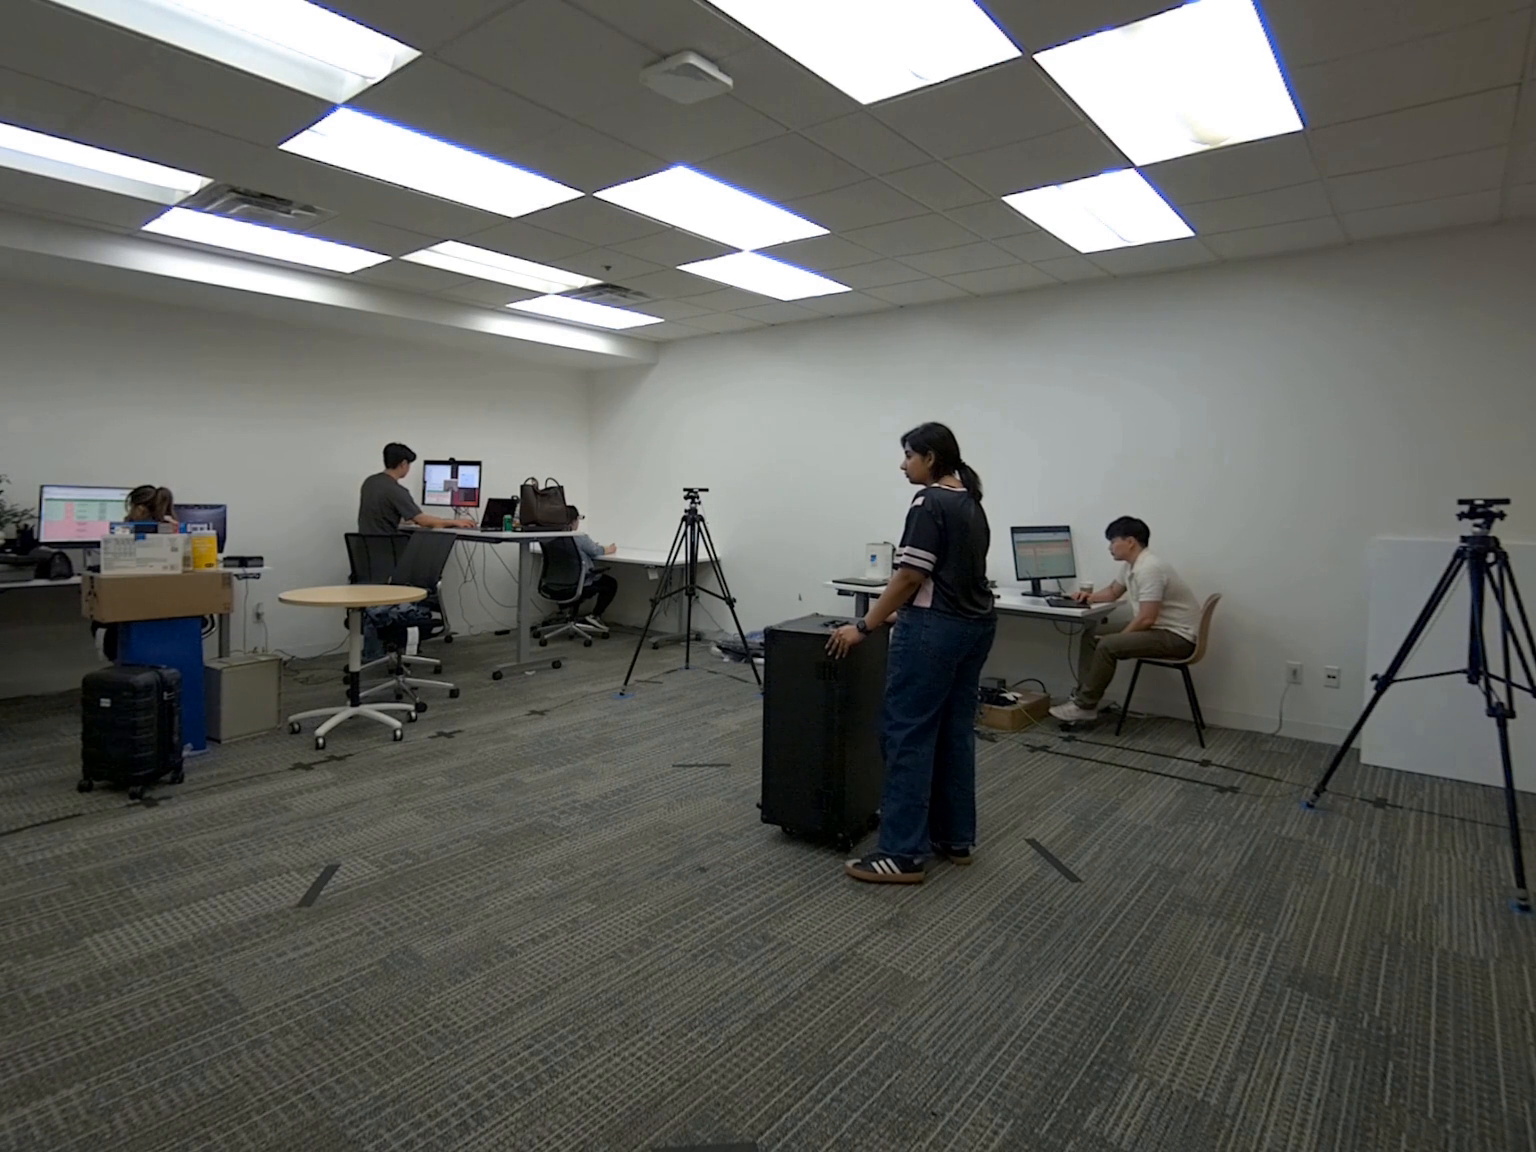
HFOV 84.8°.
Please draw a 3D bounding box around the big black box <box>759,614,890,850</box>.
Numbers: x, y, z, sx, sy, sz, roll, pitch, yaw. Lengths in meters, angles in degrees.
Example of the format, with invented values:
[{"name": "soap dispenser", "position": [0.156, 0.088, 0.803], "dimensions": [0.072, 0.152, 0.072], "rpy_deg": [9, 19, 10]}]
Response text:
[{"name": "big black box", "position": [0.223, 0.622, 3.485], "dimensions": [0.396, 0.866, 0.510], "rpy_deg": [2, 3, 28]}]
